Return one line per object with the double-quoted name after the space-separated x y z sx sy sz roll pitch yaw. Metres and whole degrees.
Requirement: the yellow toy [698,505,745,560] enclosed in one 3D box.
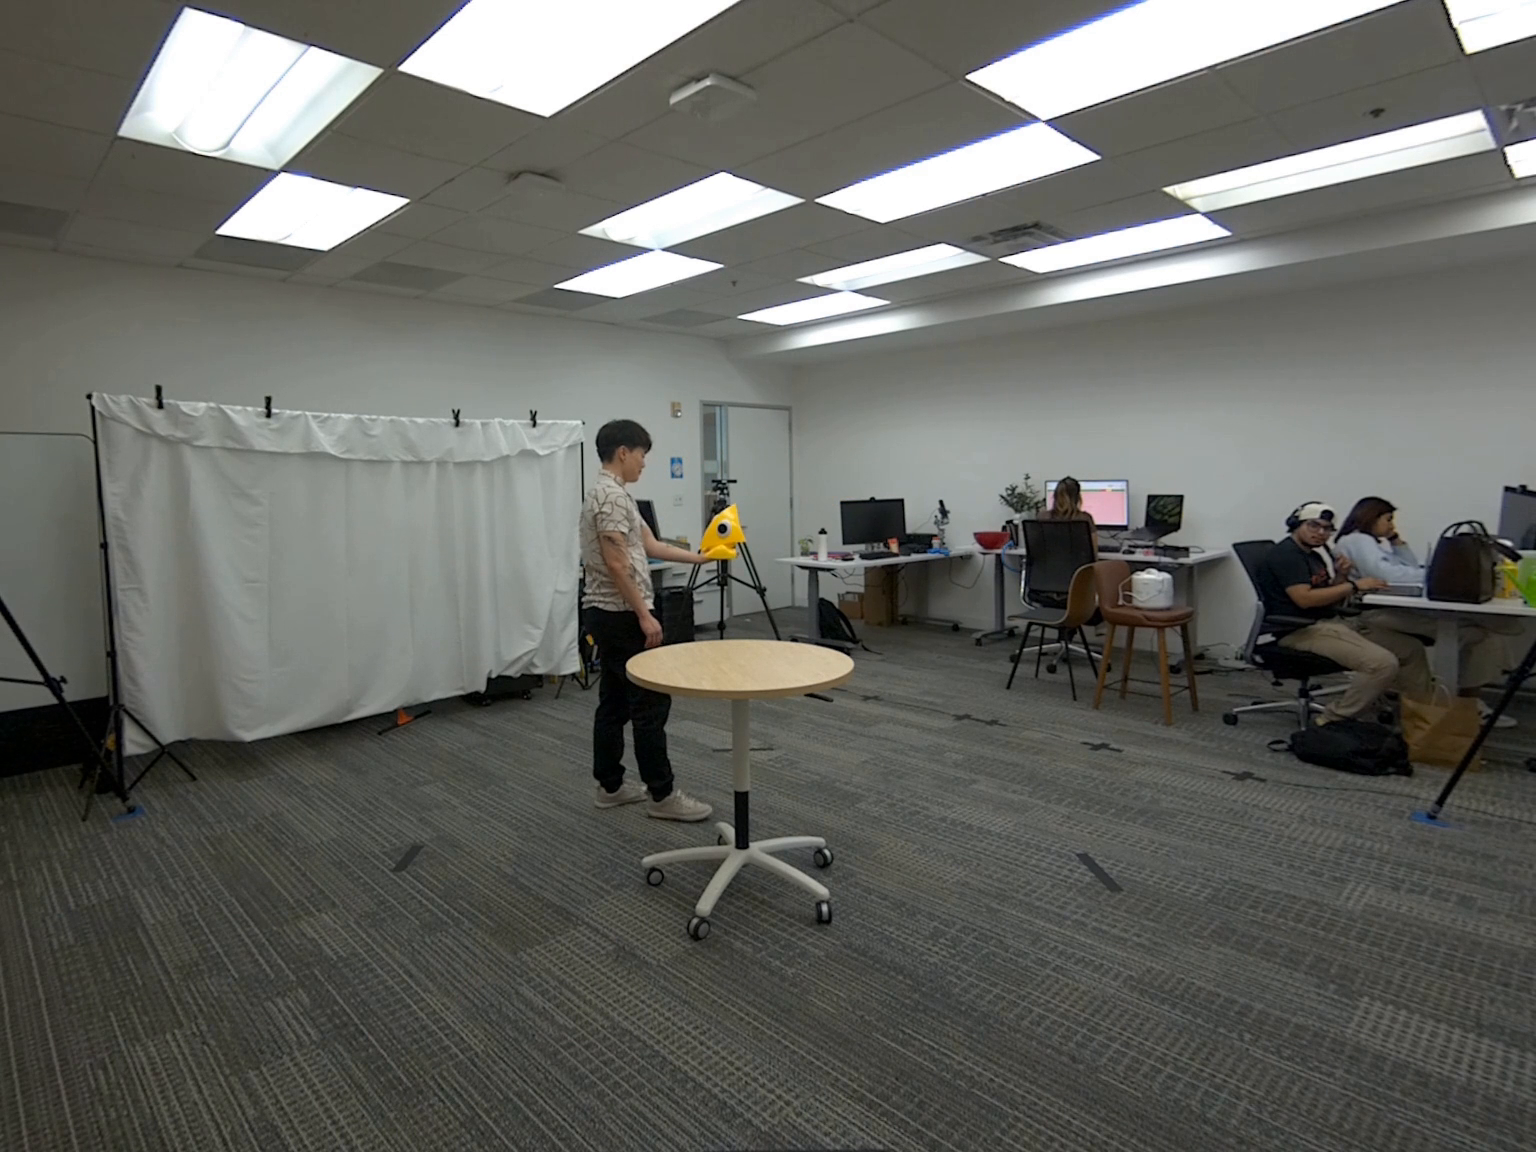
-0.216 -0.215 3.906 0.190 0.228 0.210 -2 15 -17 "yellow toy"
